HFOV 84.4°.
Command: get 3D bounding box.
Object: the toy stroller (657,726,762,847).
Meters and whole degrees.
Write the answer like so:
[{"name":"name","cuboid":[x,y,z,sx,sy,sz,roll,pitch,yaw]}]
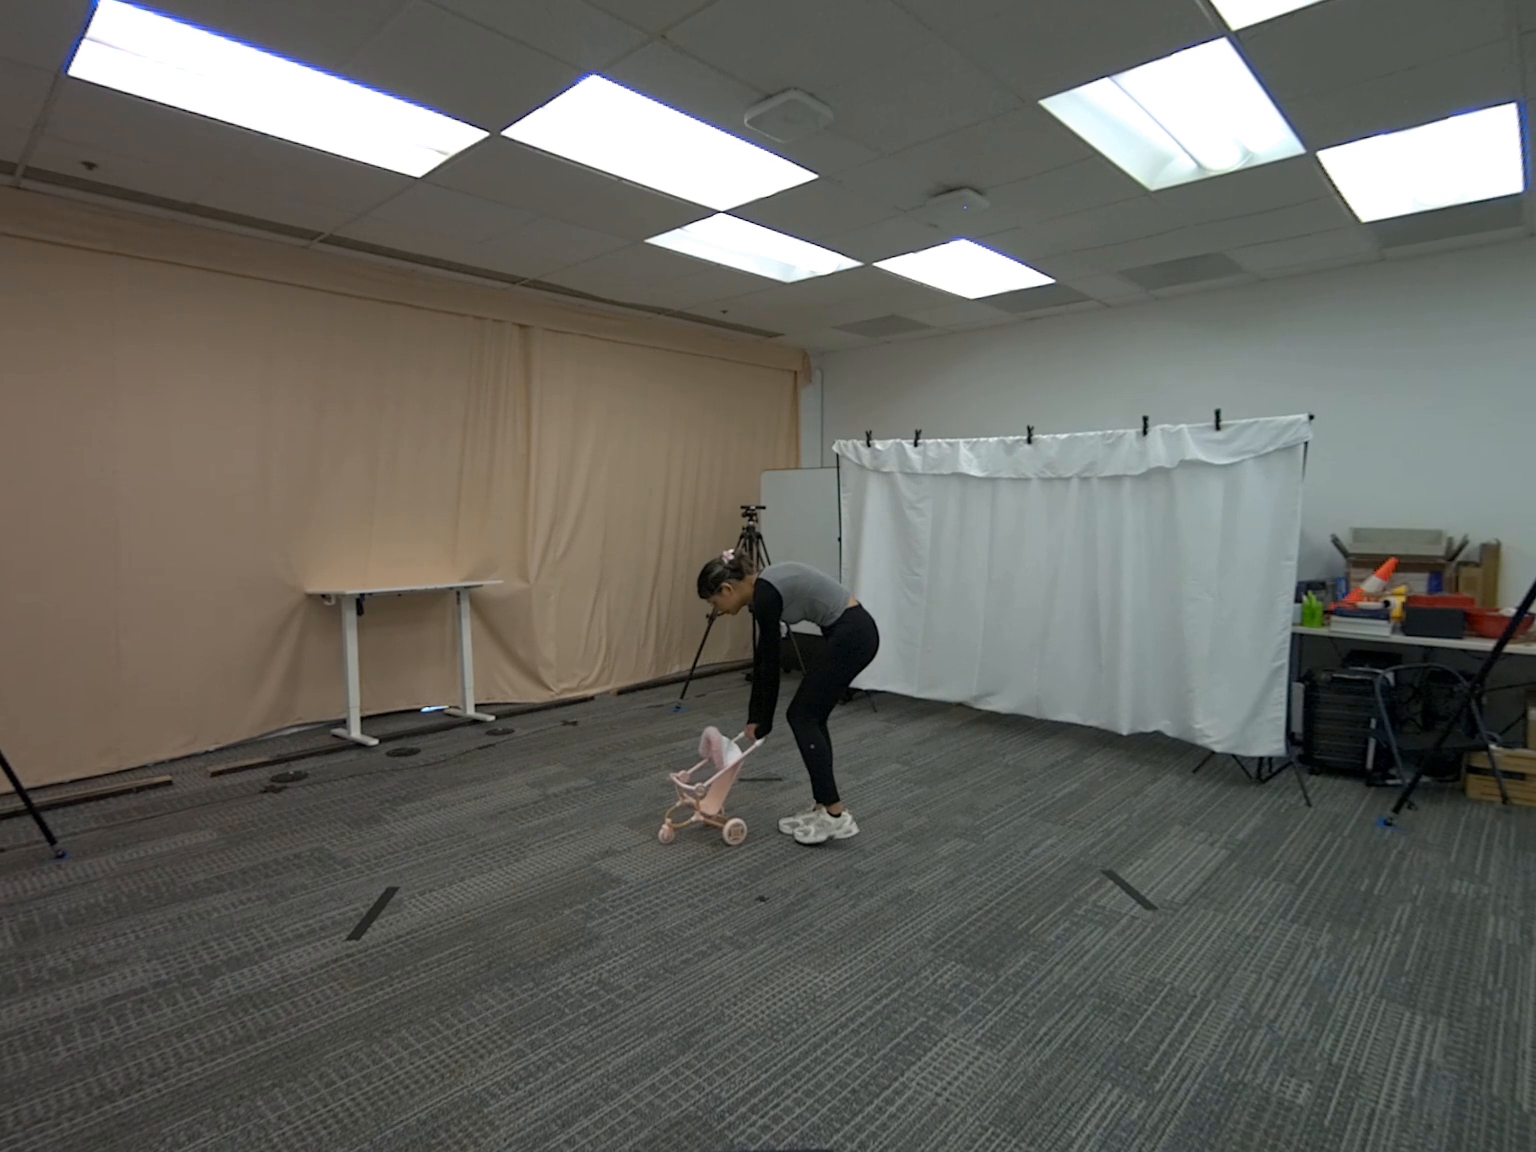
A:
[{"name":"toy stroller","cuboid":[-0.250,0.877,3.540,0.334,0.535,0.287,15,-3,-19]}]
